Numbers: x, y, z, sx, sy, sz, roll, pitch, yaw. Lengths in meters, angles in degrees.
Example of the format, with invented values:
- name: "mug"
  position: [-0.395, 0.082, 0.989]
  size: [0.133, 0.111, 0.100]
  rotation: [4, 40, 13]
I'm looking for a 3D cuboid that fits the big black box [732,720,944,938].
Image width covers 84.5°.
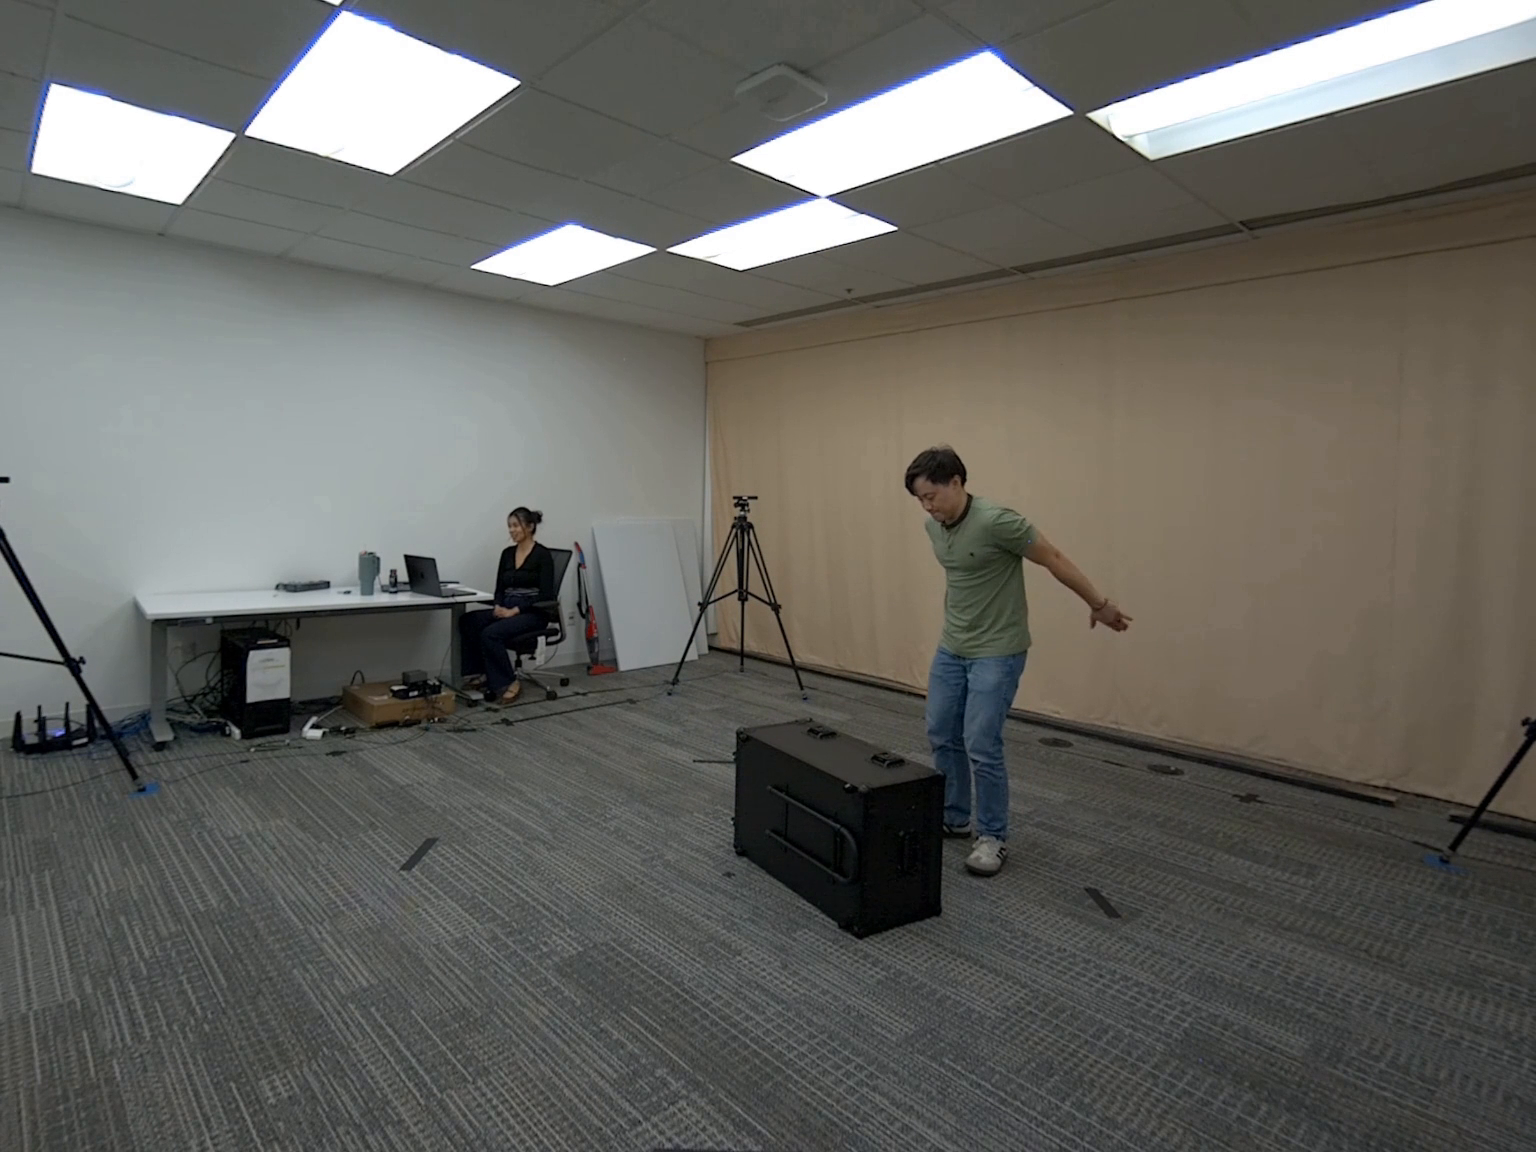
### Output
- name: "big black box"
  position: [0.196, 0.870, 3.092]
  size: [0.388, 0.520, 0.881]
  rotation: [-1, 5, -31]
